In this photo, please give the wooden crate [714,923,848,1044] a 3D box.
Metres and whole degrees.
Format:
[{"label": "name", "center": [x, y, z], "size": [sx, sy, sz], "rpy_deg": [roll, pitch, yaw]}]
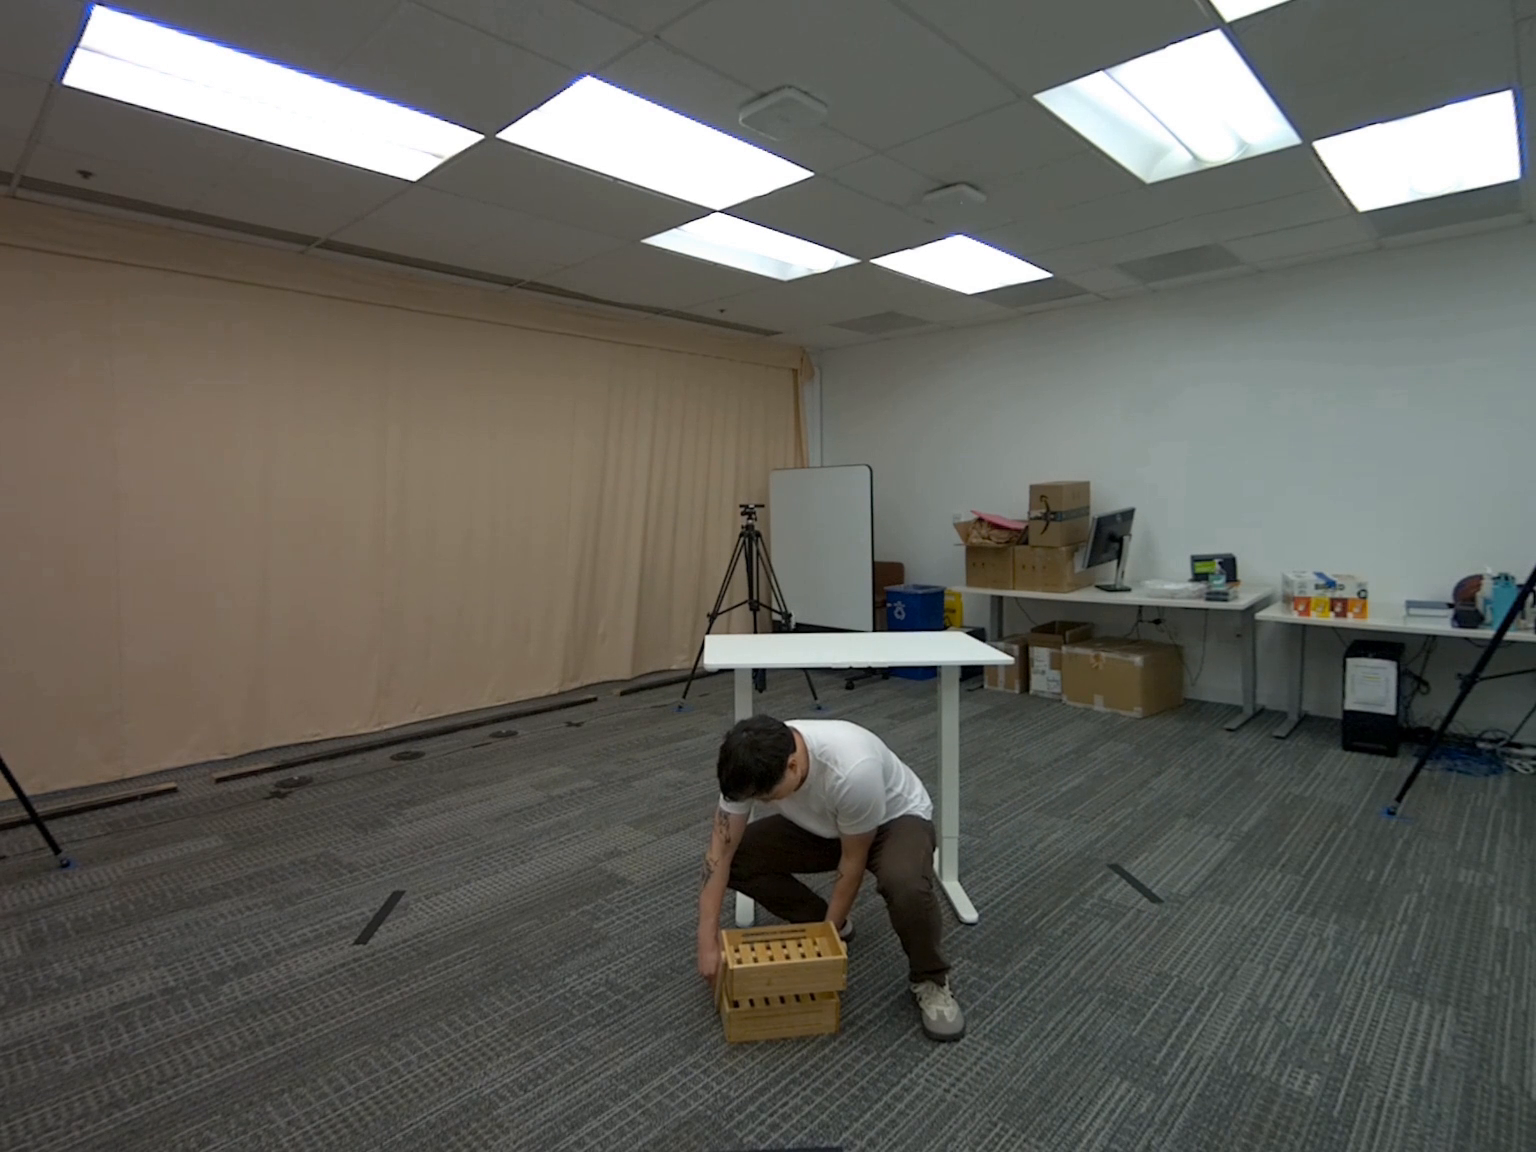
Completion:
[{"label": "wooden crate", "center": [0.027, 1.050, 2.276], "size": [0.321, 0.271, 0.307], "rpy_deg": [-1, 12, -9]}]
